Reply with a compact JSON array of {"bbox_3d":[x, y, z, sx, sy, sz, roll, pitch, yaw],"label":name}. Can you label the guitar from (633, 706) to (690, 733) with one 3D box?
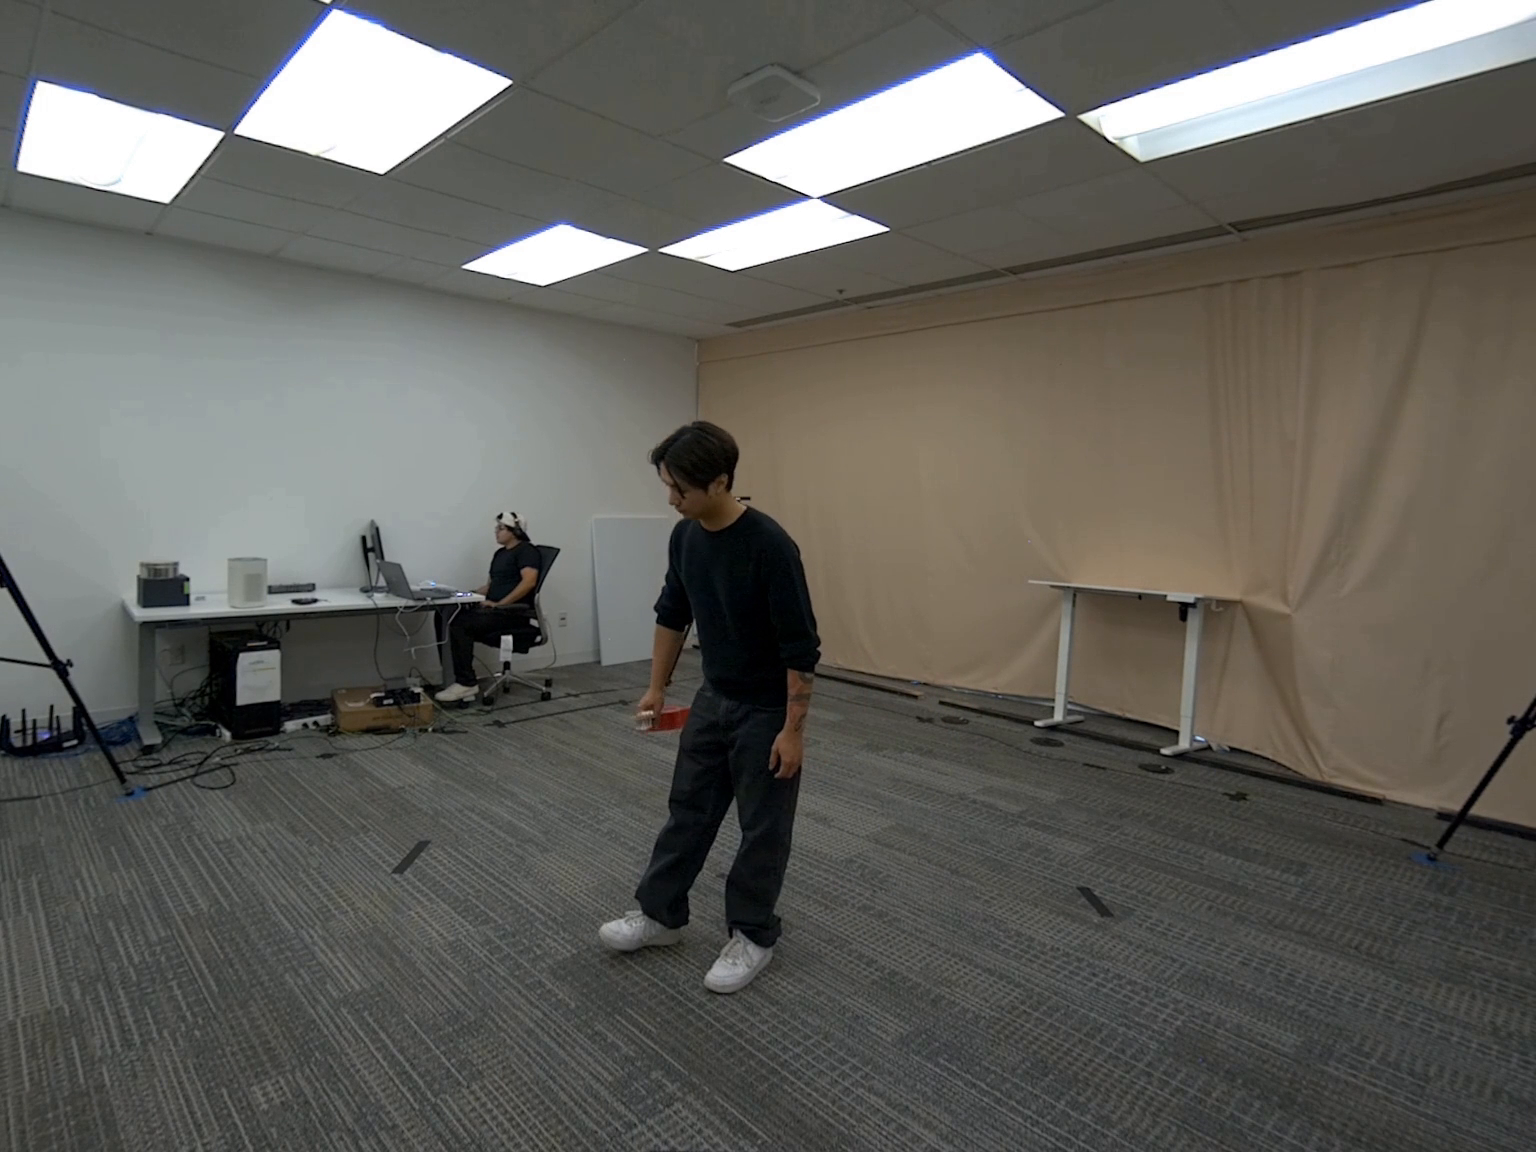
[{"bbox_3d":[-0.396,0.481,2.721,0.195,0.071,0.491,-5,-5,12],"label":"guitar"}]
